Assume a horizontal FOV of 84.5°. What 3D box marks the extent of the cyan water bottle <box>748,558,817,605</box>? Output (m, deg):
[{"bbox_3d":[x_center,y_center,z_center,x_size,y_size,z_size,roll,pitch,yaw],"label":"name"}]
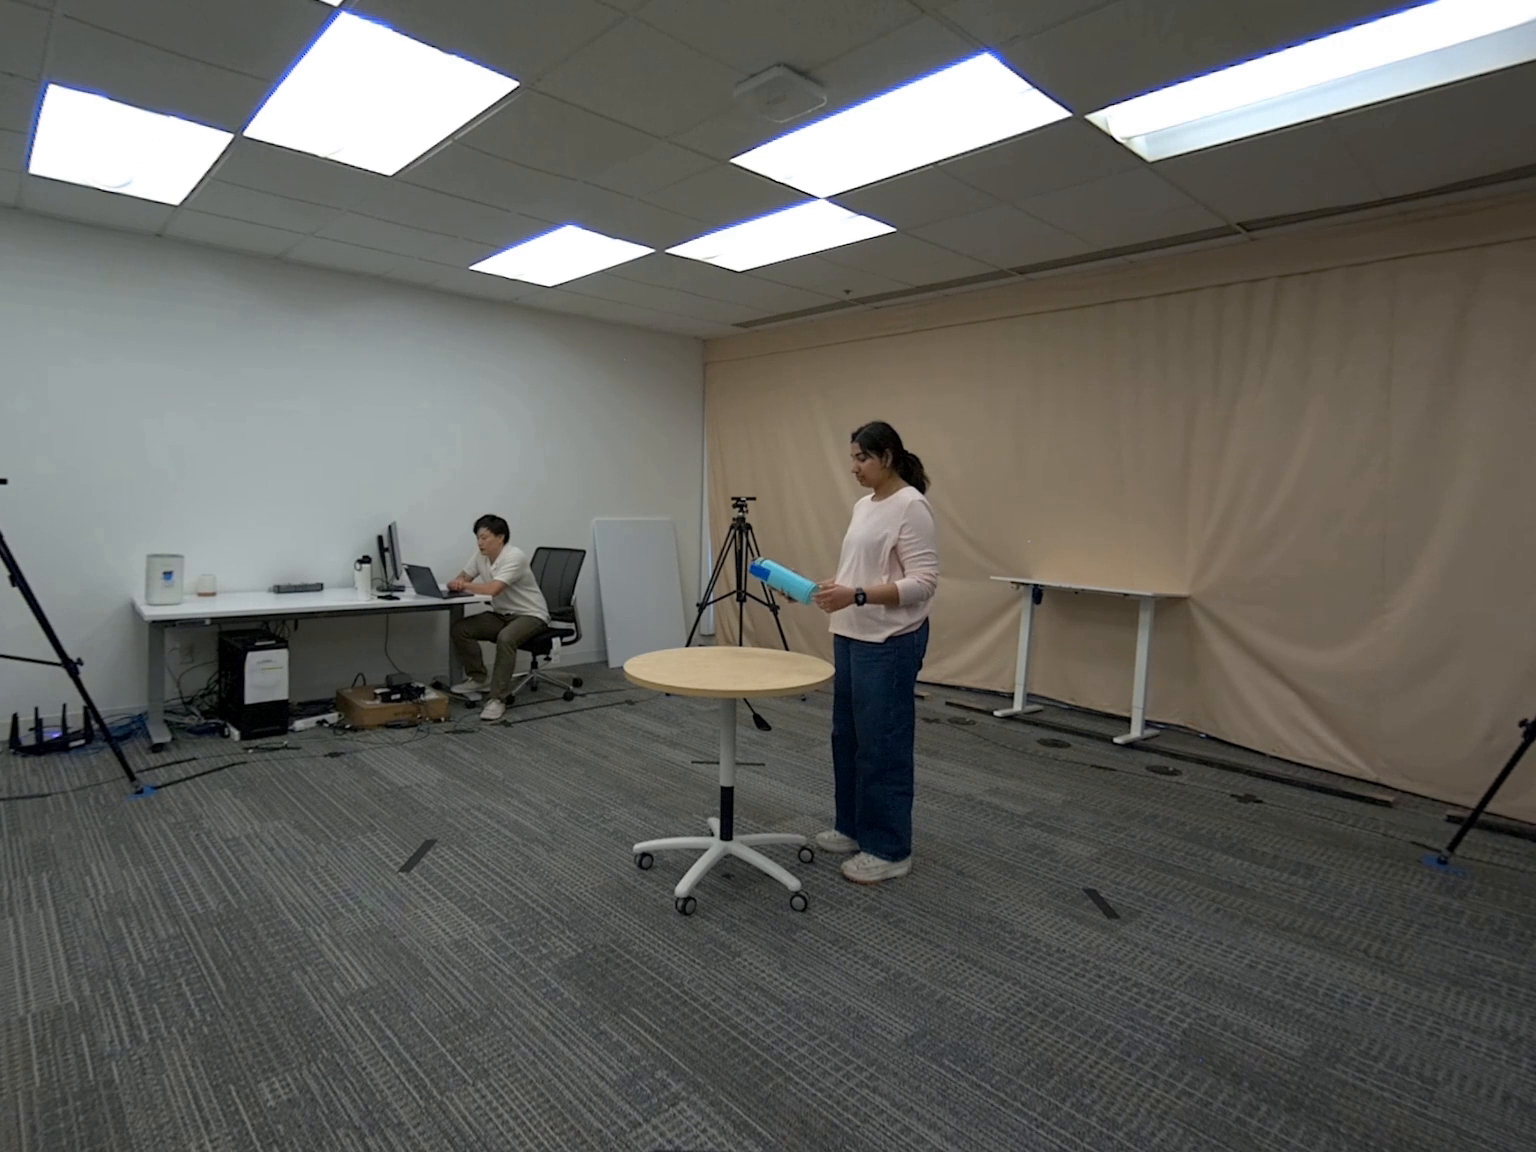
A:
[{"bbox_3d":[0.048,0.011,3.251,0.289,0.092,0.091,28,14,22],"label":"cyan water bottle"}]
